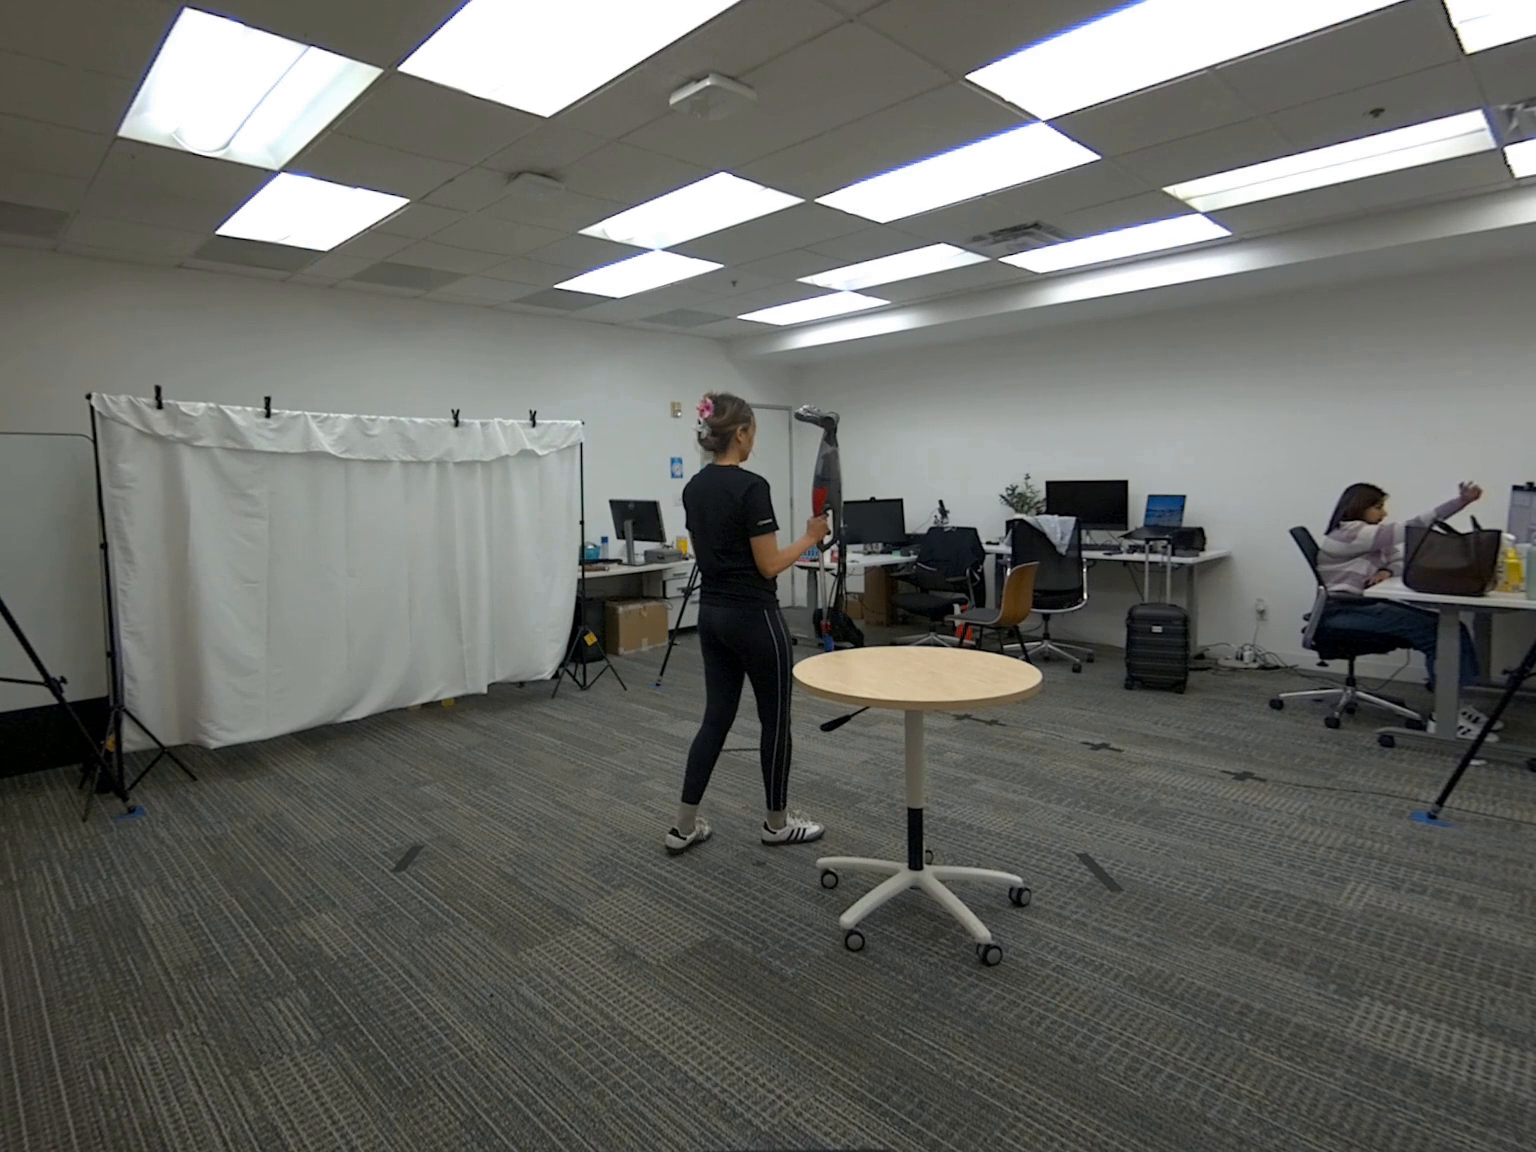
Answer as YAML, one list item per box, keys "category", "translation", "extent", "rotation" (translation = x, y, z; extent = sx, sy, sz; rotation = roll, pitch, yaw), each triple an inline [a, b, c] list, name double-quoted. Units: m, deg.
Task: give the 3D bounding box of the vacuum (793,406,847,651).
- category: "vacuum"
  translation: [0.244, -0.107, 3.263]
  extent: [0.146, 1.035, 0.251]
  rotation: [-2, 14, 19]
